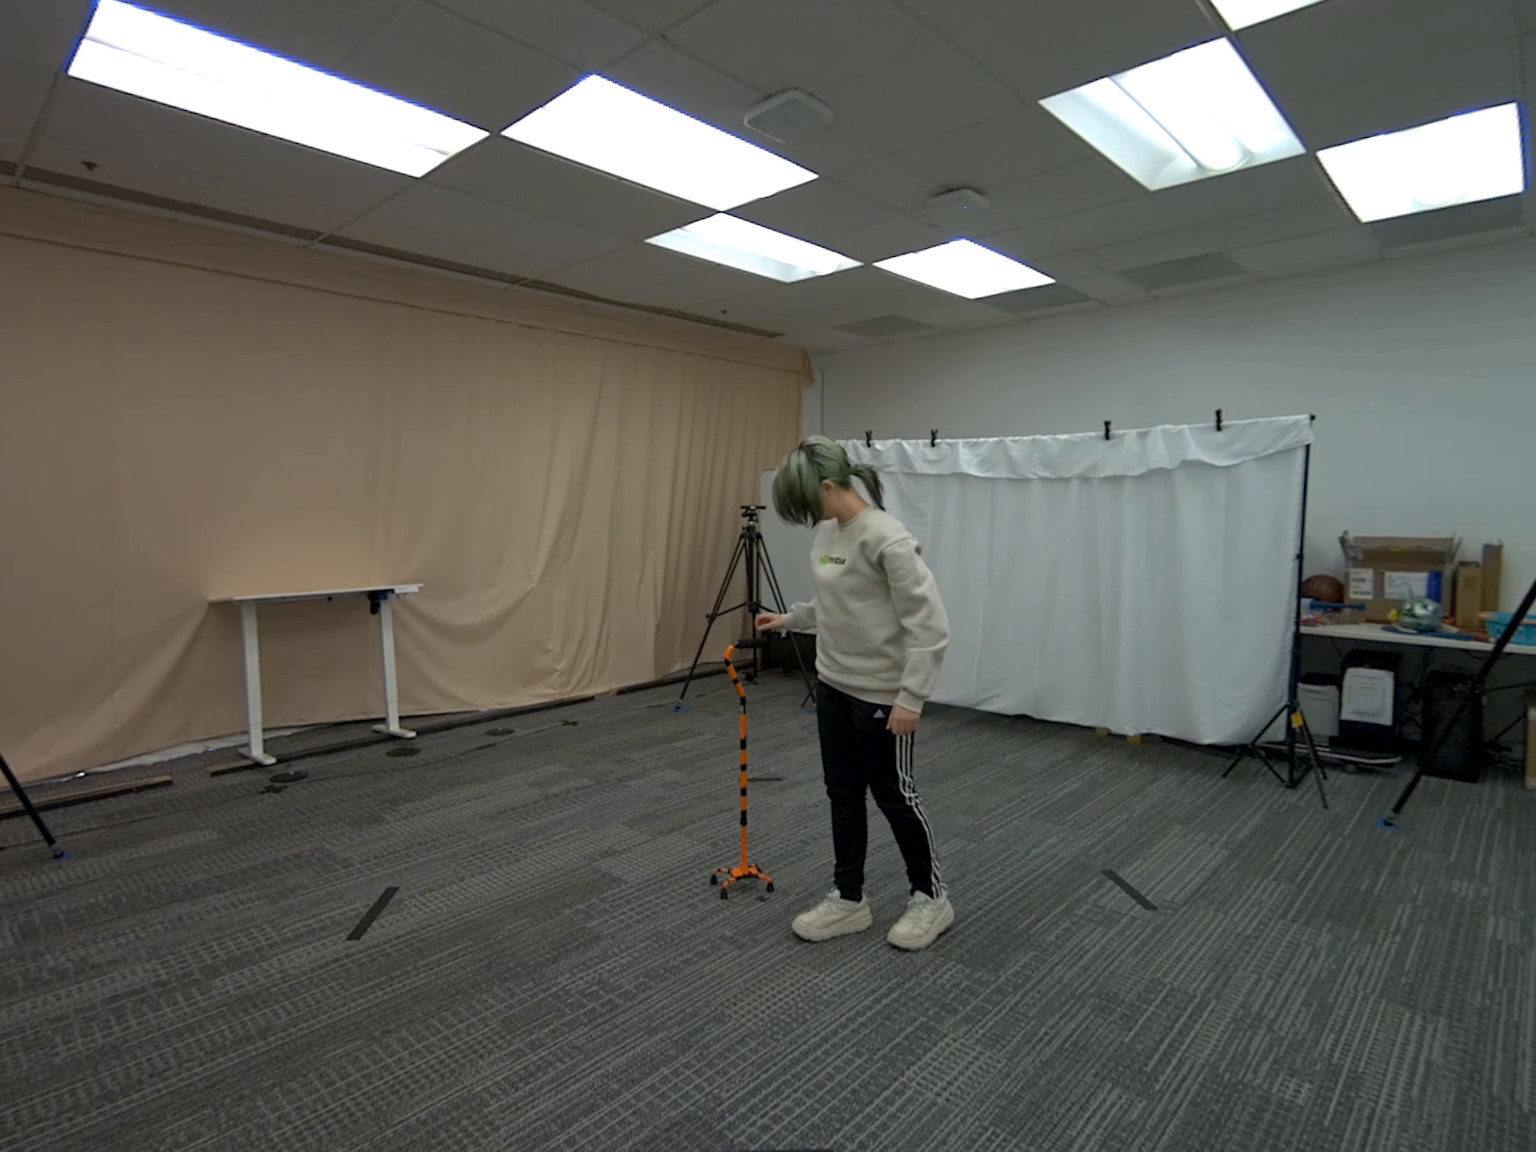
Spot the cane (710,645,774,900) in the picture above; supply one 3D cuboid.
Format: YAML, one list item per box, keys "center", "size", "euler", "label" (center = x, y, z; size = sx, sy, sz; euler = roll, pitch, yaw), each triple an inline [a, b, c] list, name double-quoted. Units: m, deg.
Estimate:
- center: [-0.090, 0.687, 3.055]
  size: [0.203, 0.906, 0.155]
  euler: [-1, 3, -19]
  label: "cane"
